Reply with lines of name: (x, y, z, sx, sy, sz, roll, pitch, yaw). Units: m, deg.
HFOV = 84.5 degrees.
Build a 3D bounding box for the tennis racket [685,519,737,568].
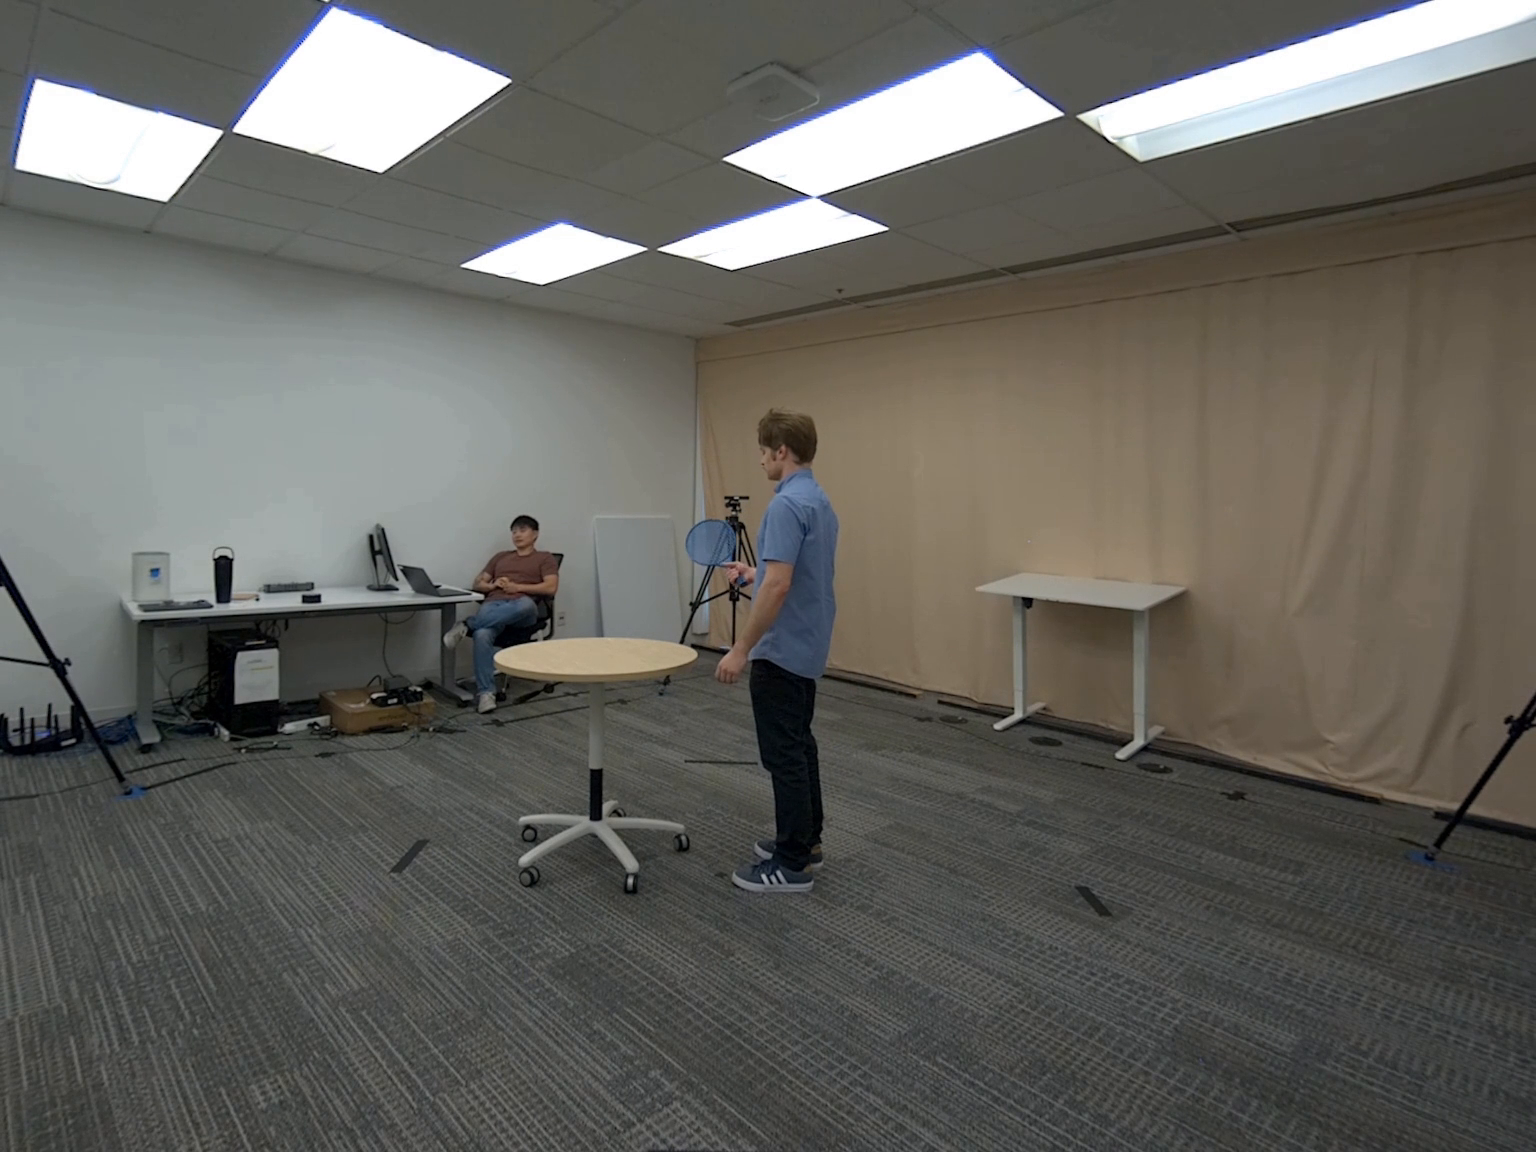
tennis racket: (-0.221, -0.092, 3.484, 0.447, 0.214, 0.031, 47, -1, 41)
